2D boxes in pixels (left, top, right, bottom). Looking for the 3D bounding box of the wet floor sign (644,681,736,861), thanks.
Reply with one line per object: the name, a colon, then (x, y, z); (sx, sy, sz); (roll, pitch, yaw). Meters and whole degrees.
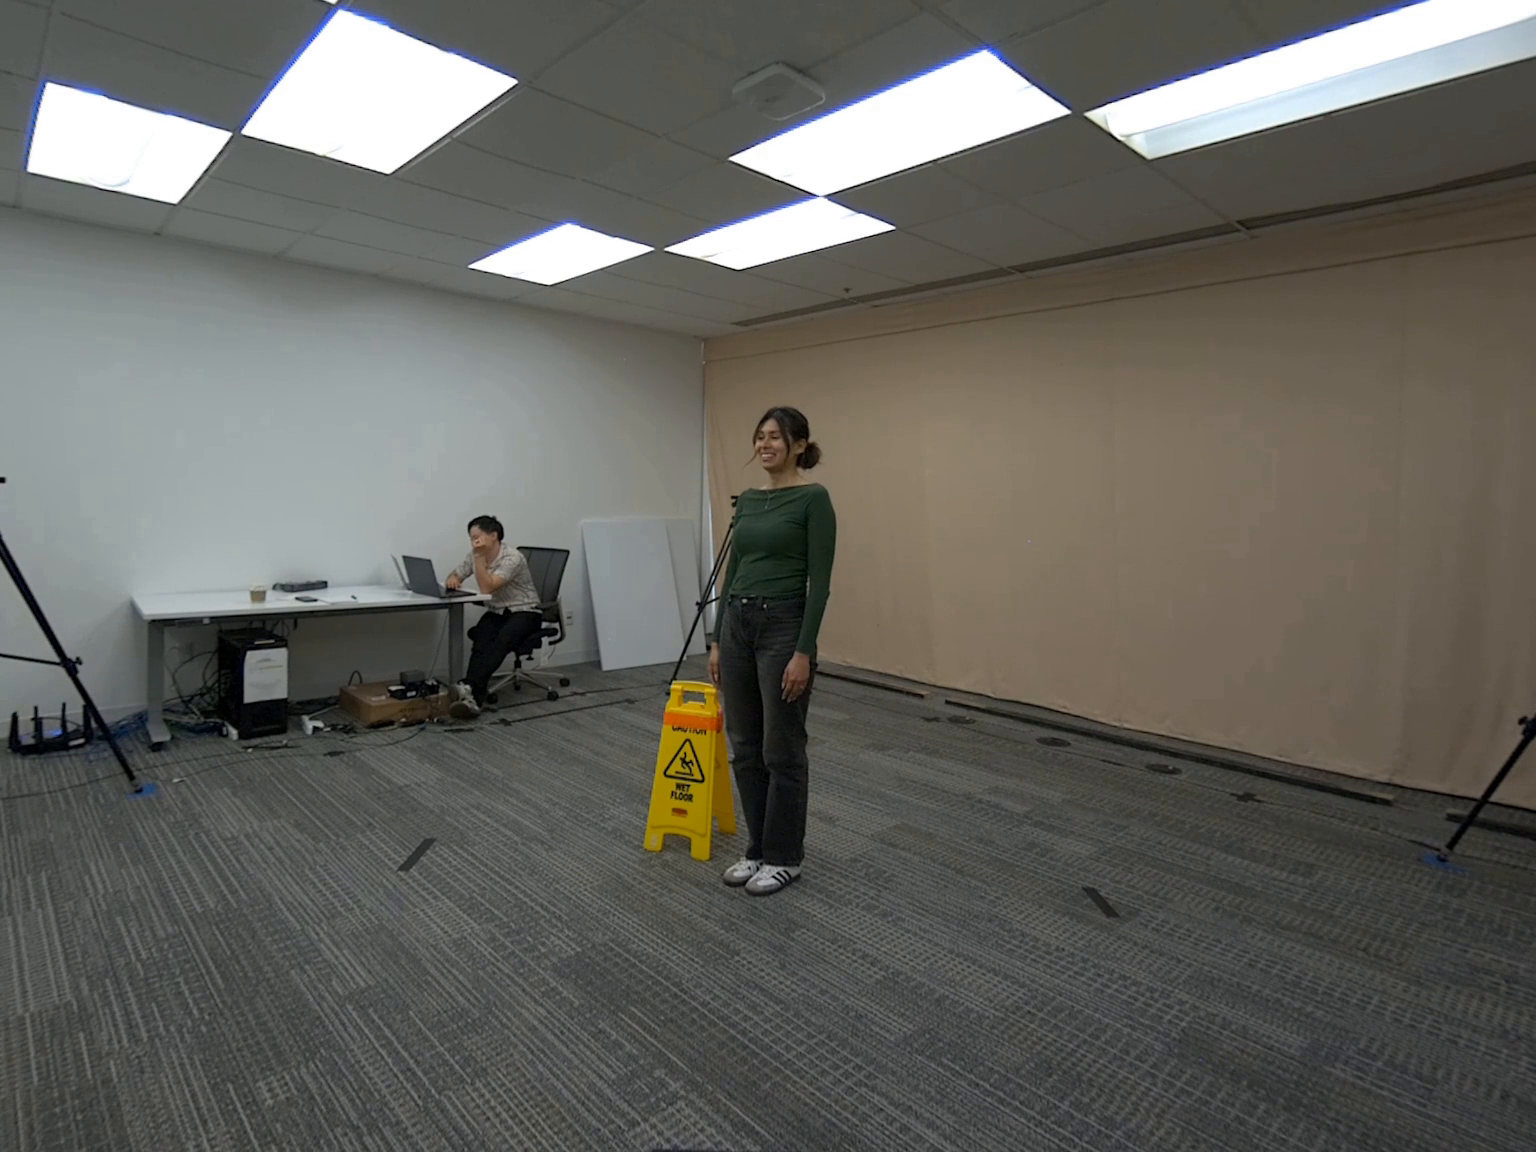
wet floor sign: (-0.313, 0.751, 3.387); (0.287, 0.644, 0.286); (2, 4, 20)
